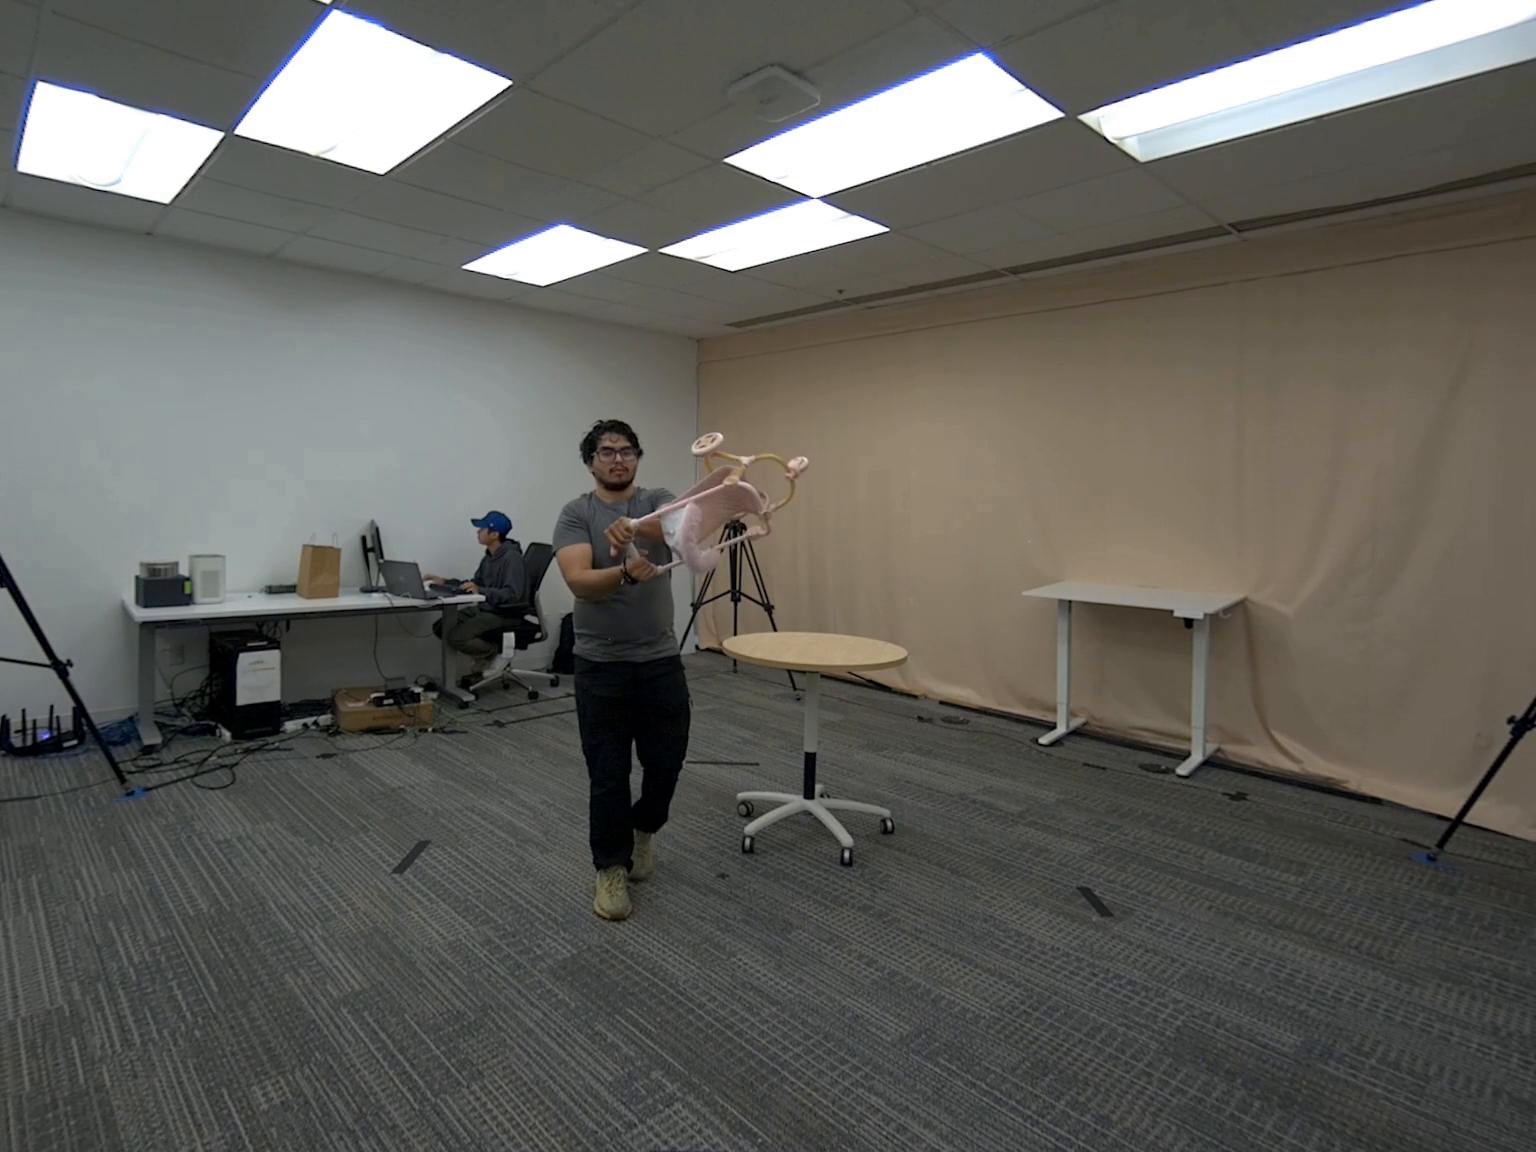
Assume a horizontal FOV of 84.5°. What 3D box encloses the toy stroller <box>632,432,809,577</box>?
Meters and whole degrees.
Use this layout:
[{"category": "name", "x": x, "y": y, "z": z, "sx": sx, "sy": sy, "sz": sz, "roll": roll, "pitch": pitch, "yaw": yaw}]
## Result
[{"category": "toy stroller", "x": -0.139, "y": -0.194, "z": 2.516, "sx": 0.350, "sy": 0.274, "sz": 0.536, "roll": 12, "pitch": 47, "yaw": 34}]
